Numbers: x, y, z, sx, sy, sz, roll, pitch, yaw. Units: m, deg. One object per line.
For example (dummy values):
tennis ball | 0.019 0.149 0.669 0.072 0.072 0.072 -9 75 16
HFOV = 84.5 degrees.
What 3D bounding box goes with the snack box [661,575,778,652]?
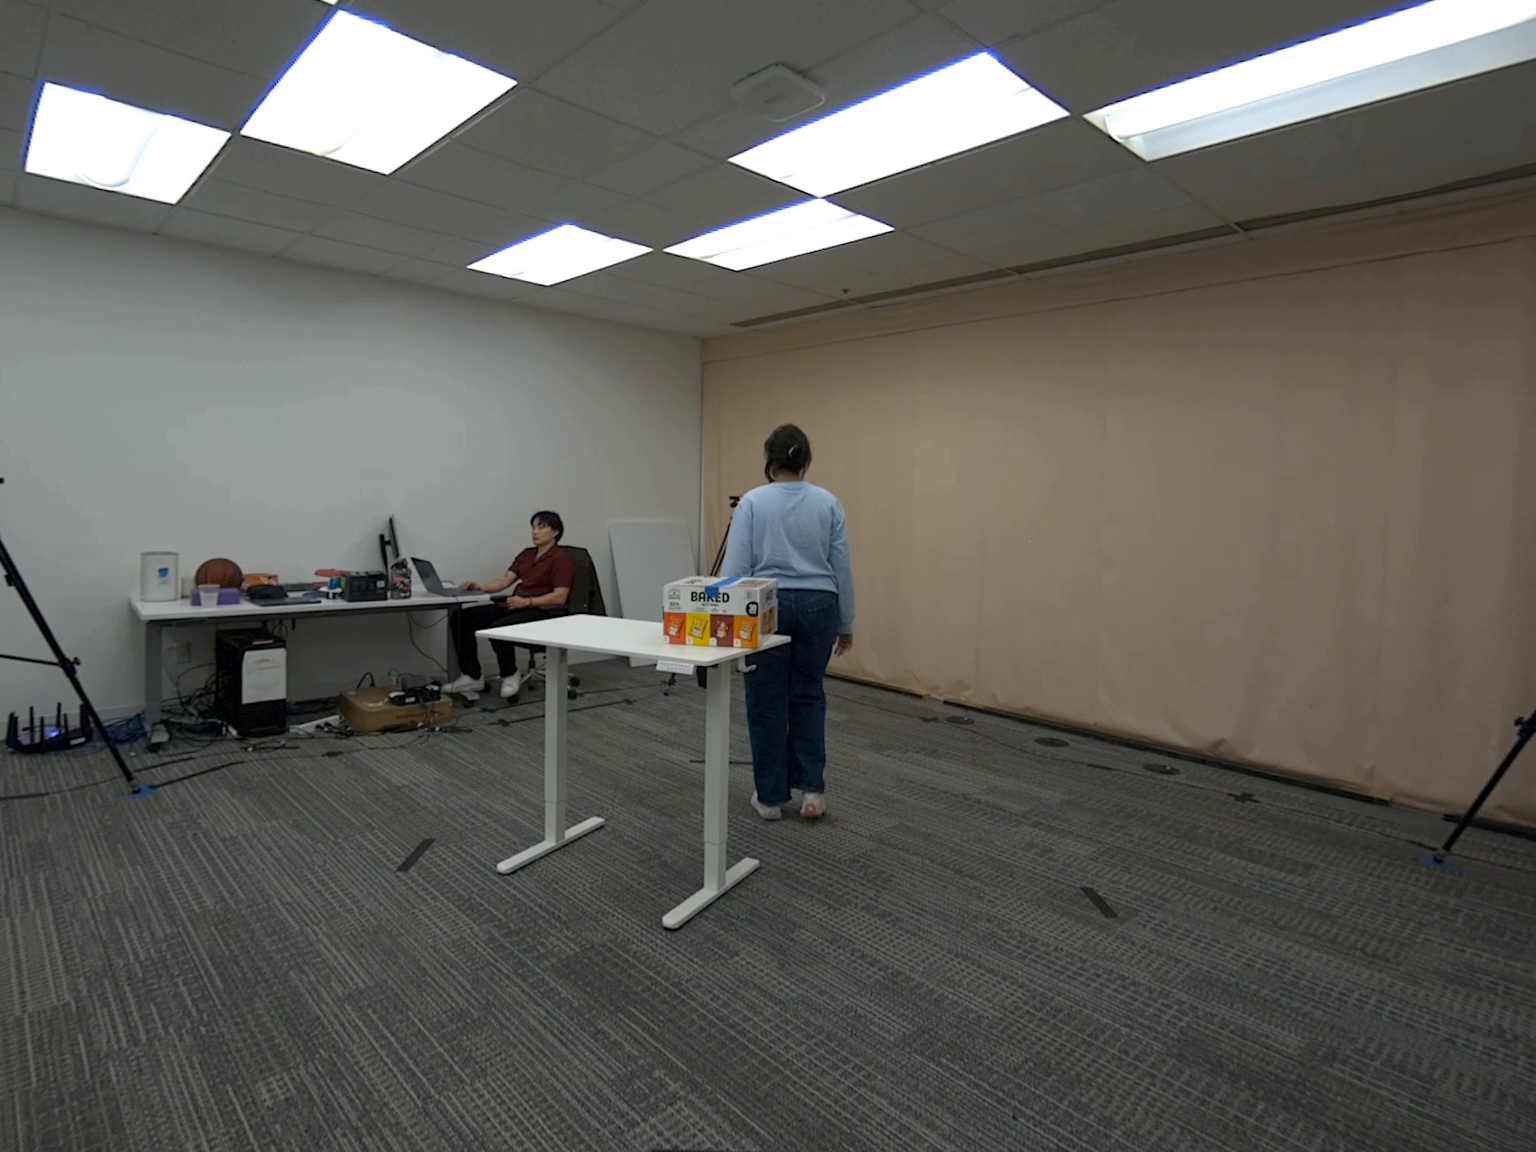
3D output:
snack box | -0.163 0.124 3.050 0.343 0.205 0.402 2 5 10
